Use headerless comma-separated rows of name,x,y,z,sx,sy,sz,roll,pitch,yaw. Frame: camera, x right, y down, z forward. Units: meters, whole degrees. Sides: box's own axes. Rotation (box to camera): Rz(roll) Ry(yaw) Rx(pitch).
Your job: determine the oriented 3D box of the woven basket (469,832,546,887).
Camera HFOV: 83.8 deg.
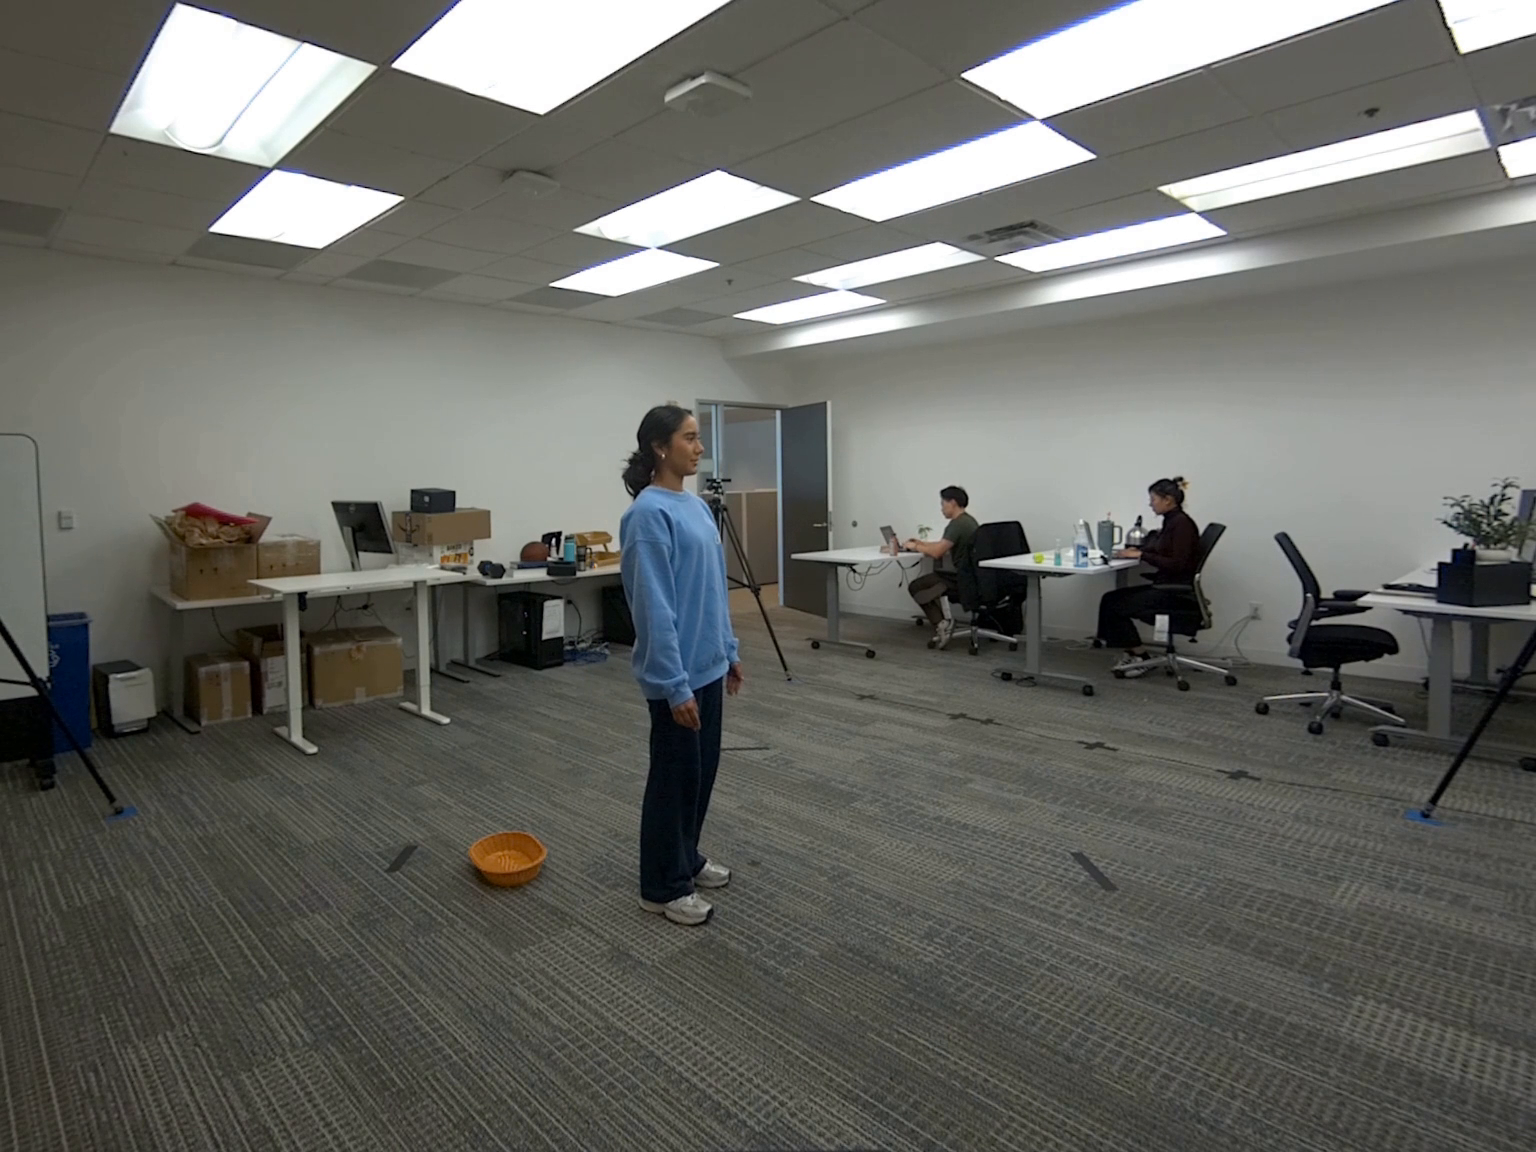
woven basket,-0.935,1.026,3.095,0.246,0.073,0.361,-7,9,-33
